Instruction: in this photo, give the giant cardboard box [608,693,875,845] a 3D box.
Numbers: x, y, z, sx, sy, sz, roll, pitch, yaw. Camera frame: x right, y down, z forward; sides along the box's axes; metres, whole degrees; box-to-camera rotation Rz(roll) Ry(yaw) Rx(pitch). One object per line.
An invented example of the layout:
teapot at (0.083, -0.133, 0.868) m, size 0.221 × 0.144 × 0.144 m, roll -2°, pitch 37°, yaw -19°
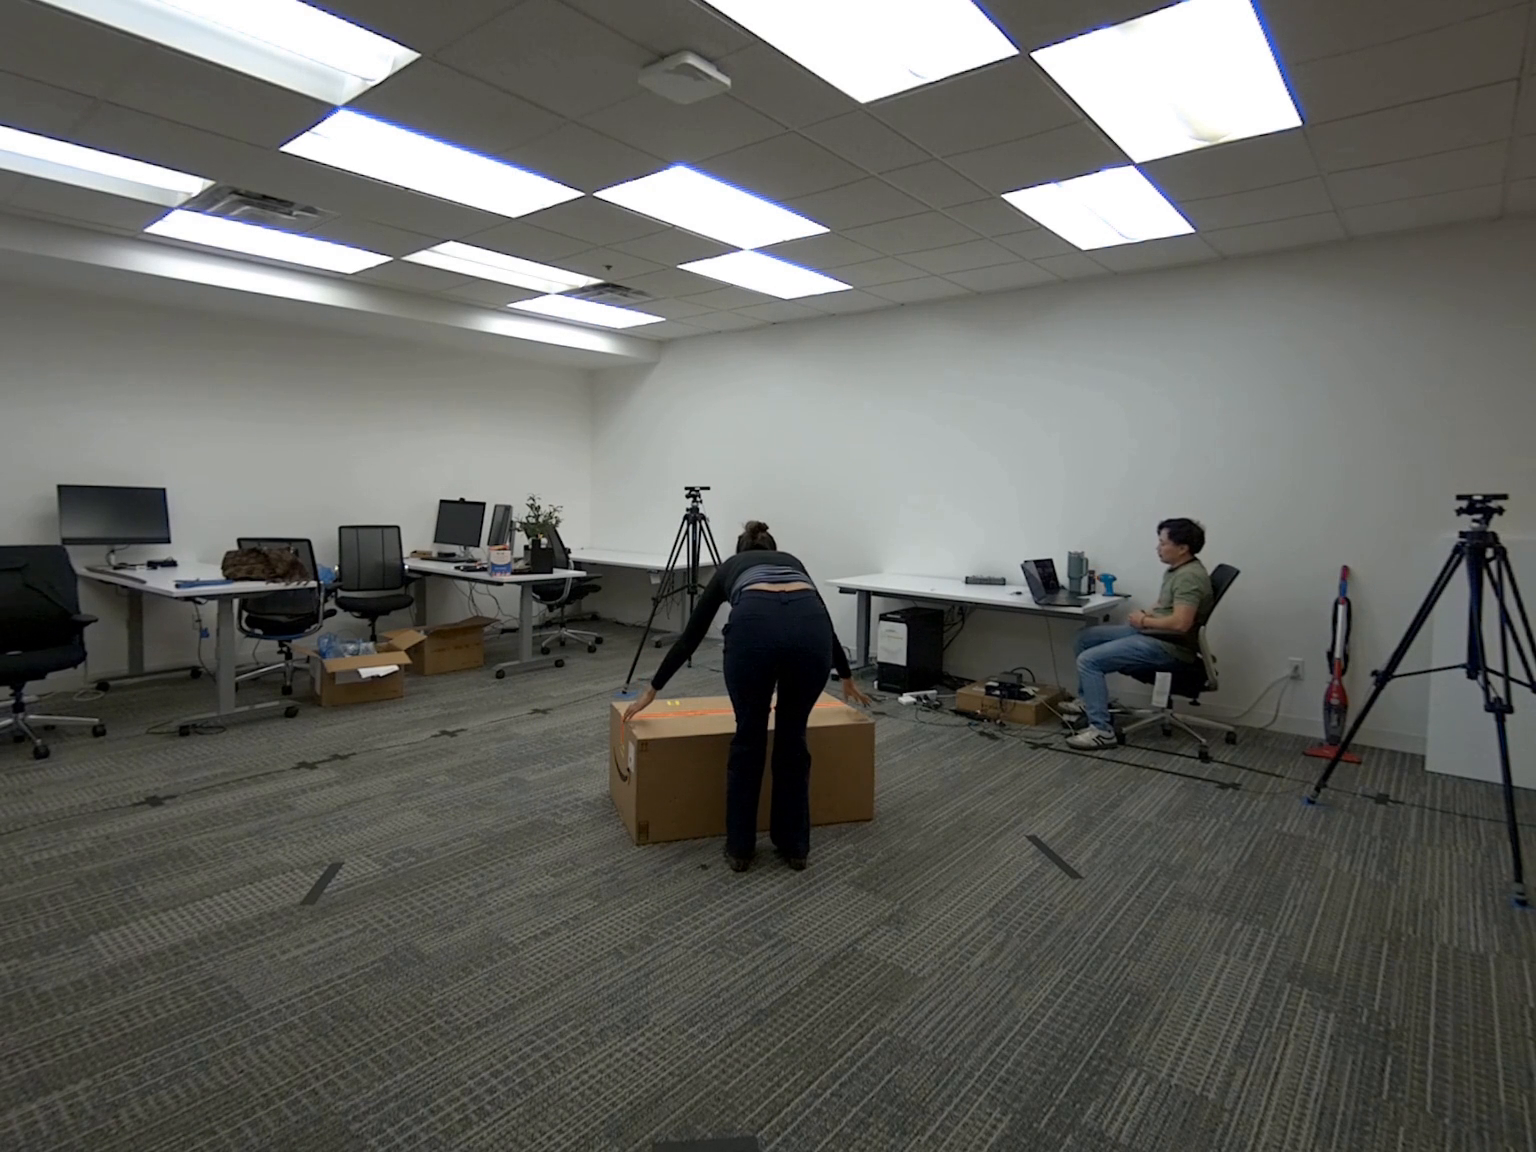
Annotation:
giant cardboard box at (-0.142, 0.788, 3.699) m, size 1.007 × 0.425 × 0.590 m, roll -1°, pitch 4°, yaw -18°
